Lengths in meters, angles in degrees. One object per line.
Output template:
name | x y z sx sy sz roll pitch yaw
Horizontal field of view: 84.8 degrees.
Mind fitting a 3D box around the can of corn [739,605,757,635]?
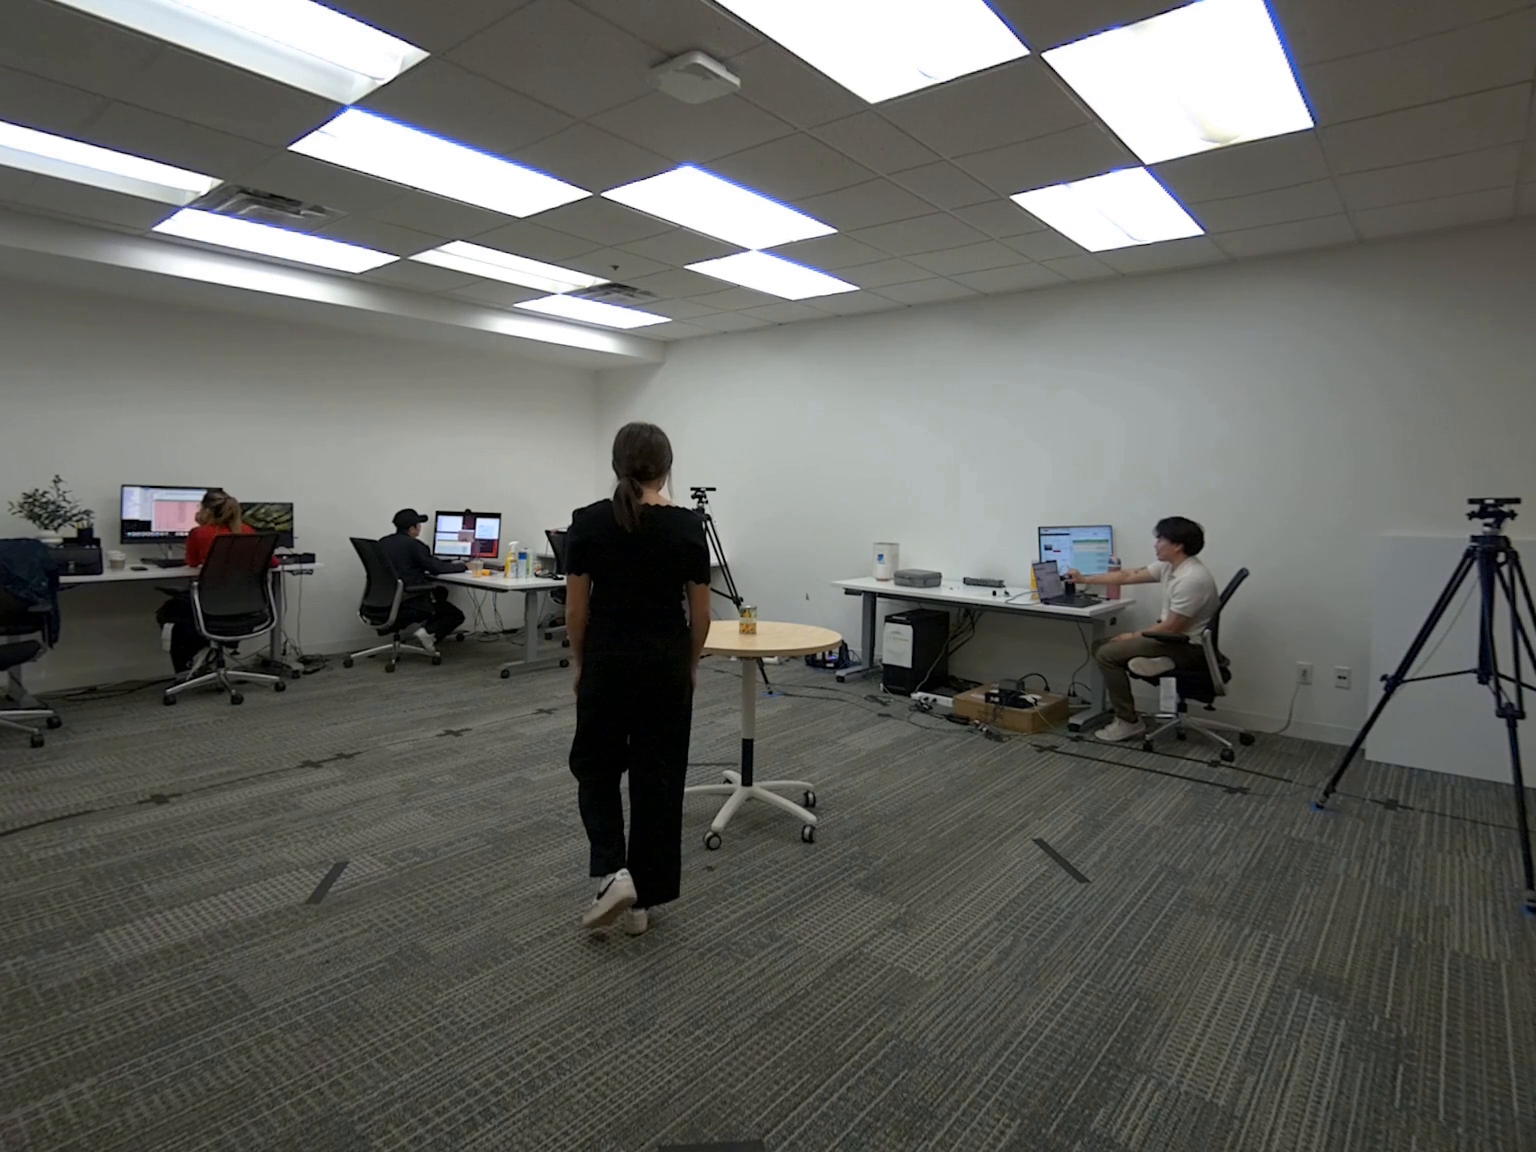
can of corn | -0.096 0.183 3.591 0.074 0.111 0.074 3 1 -2
